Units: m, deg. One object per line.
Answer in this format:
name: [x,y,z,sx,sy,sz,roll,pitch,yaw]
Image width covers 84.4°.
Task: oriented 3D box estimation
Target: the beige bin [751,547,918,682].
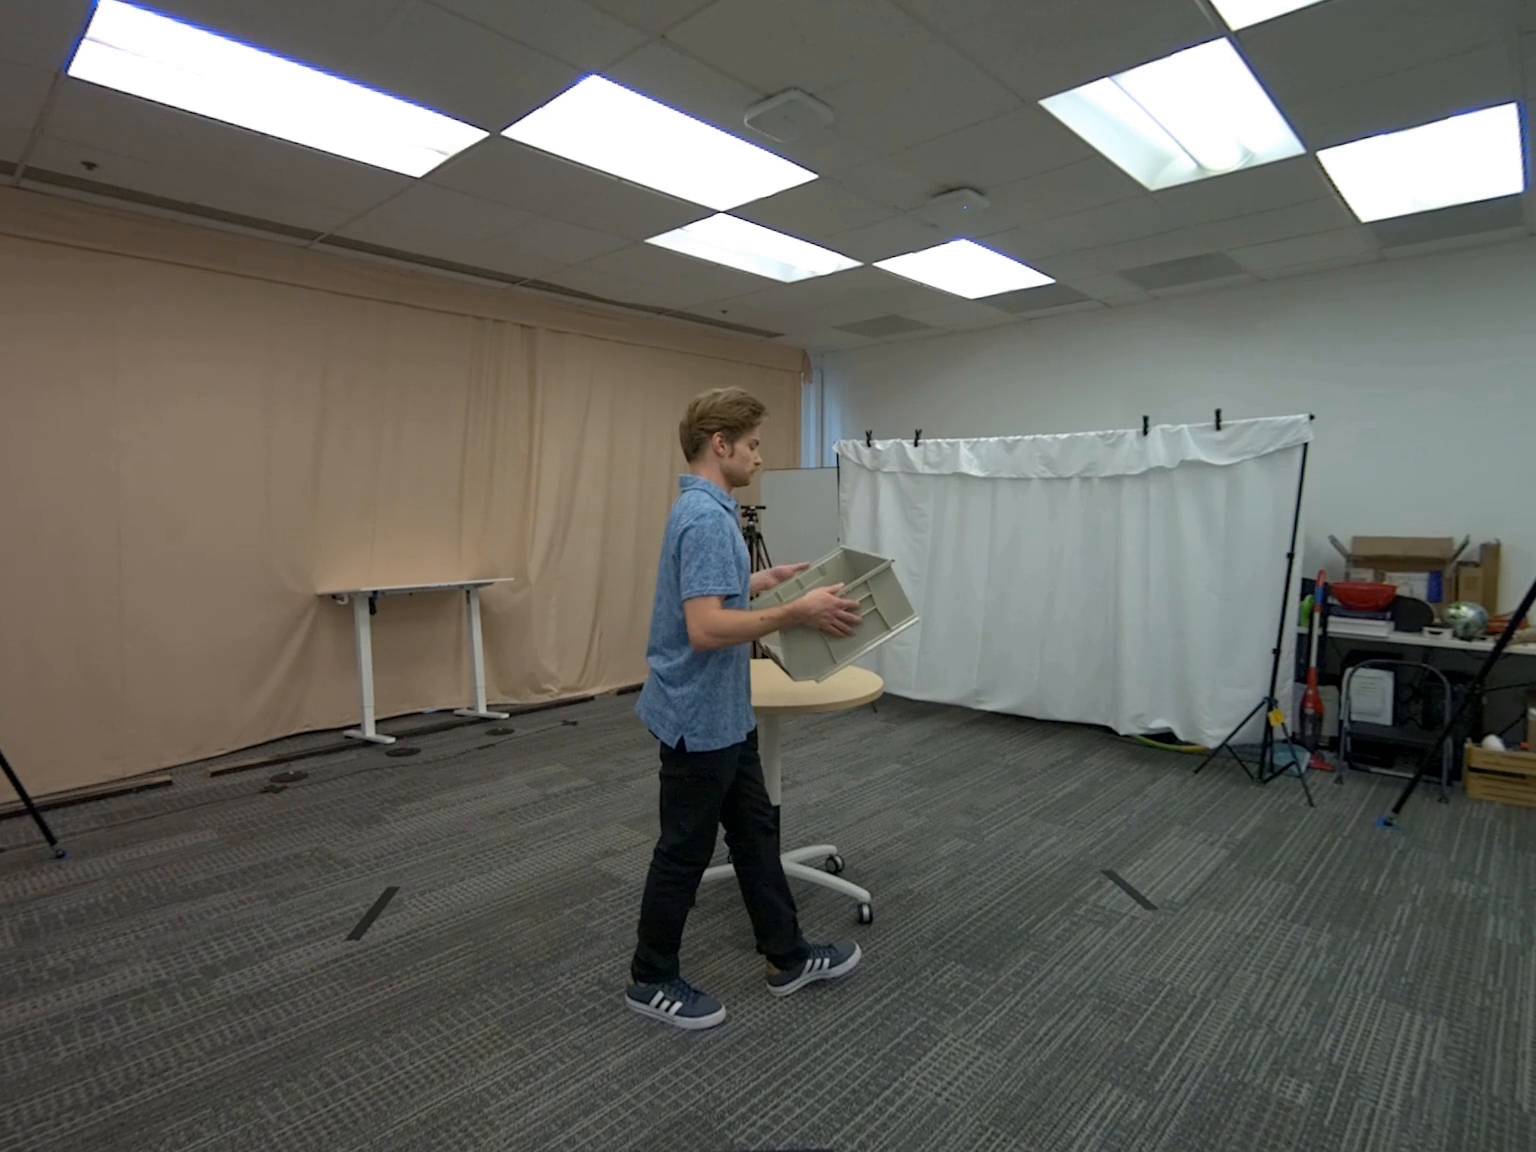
beige bin: [0.164,0.103,2.327,0.376,0.187,0.428,-30,10,-6]
